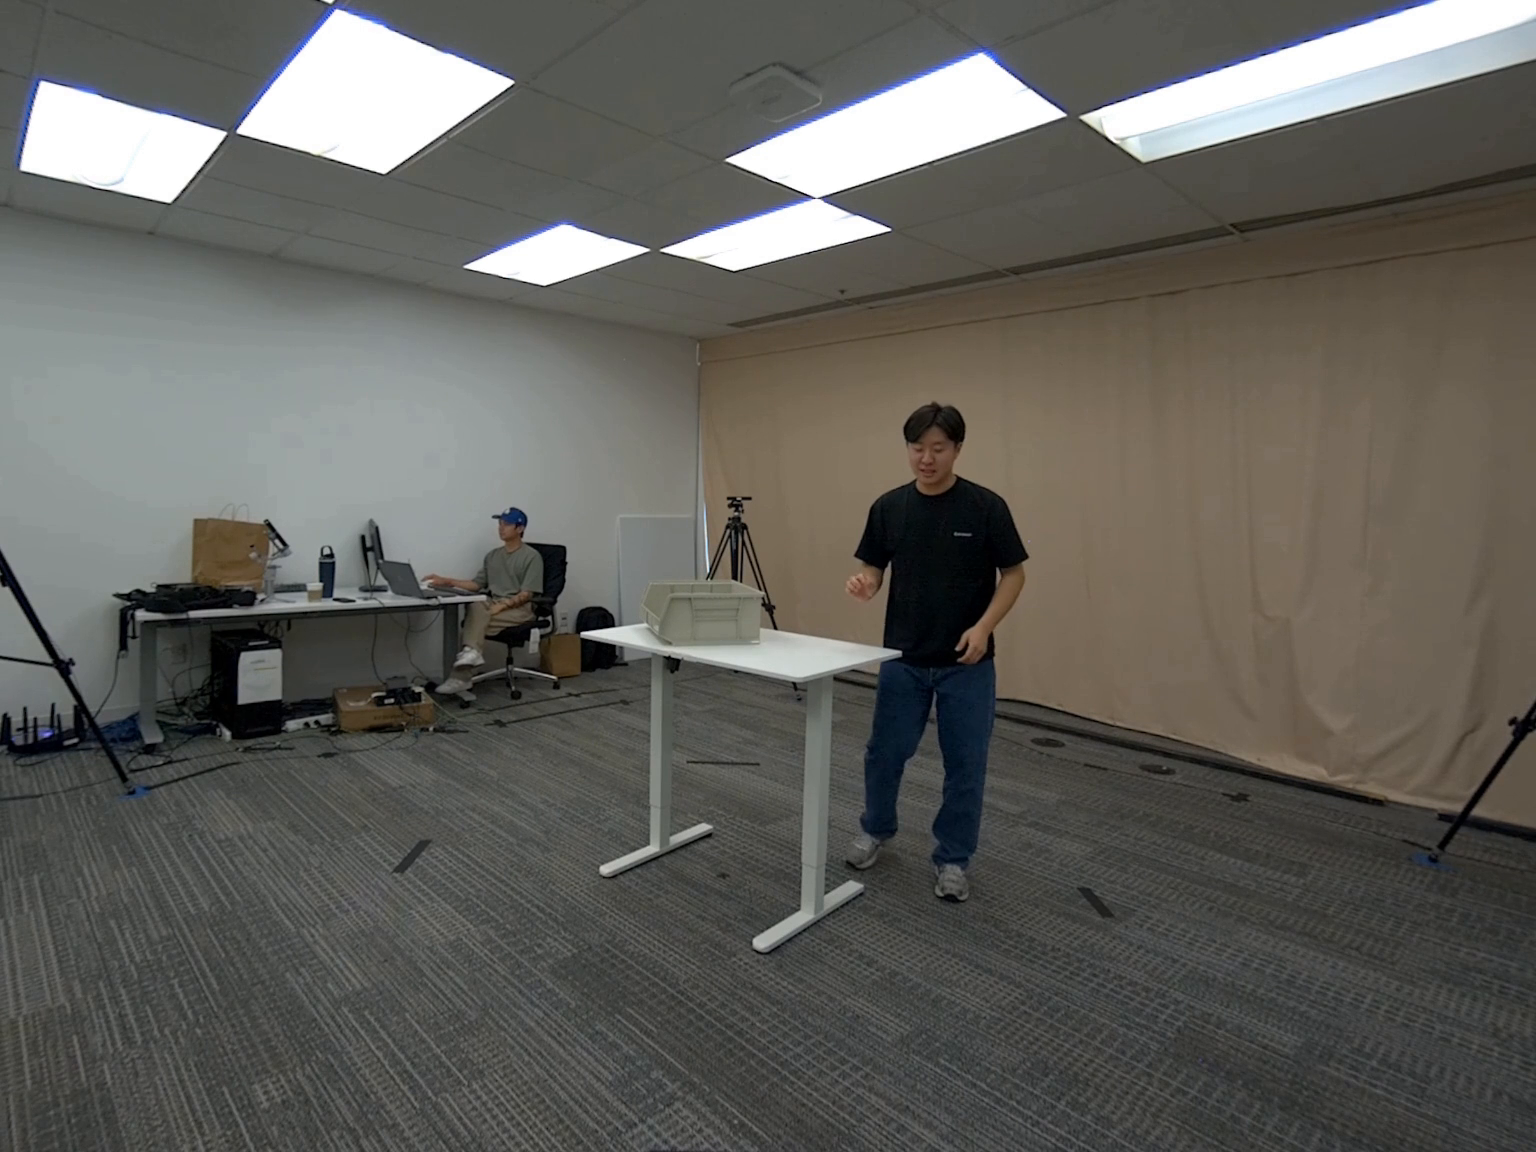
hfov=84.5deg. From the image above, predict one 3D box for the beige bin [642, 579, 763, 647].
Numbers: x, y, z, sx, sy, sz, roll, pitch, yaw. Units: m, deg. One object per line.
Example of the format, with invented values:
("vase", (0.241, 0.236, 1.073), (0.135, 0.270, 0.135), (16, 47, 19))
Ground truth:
("beige bin", (-0.253, 0.133, 3.101), (0.373, 0.188, 0.429), (0, 5, -16))
